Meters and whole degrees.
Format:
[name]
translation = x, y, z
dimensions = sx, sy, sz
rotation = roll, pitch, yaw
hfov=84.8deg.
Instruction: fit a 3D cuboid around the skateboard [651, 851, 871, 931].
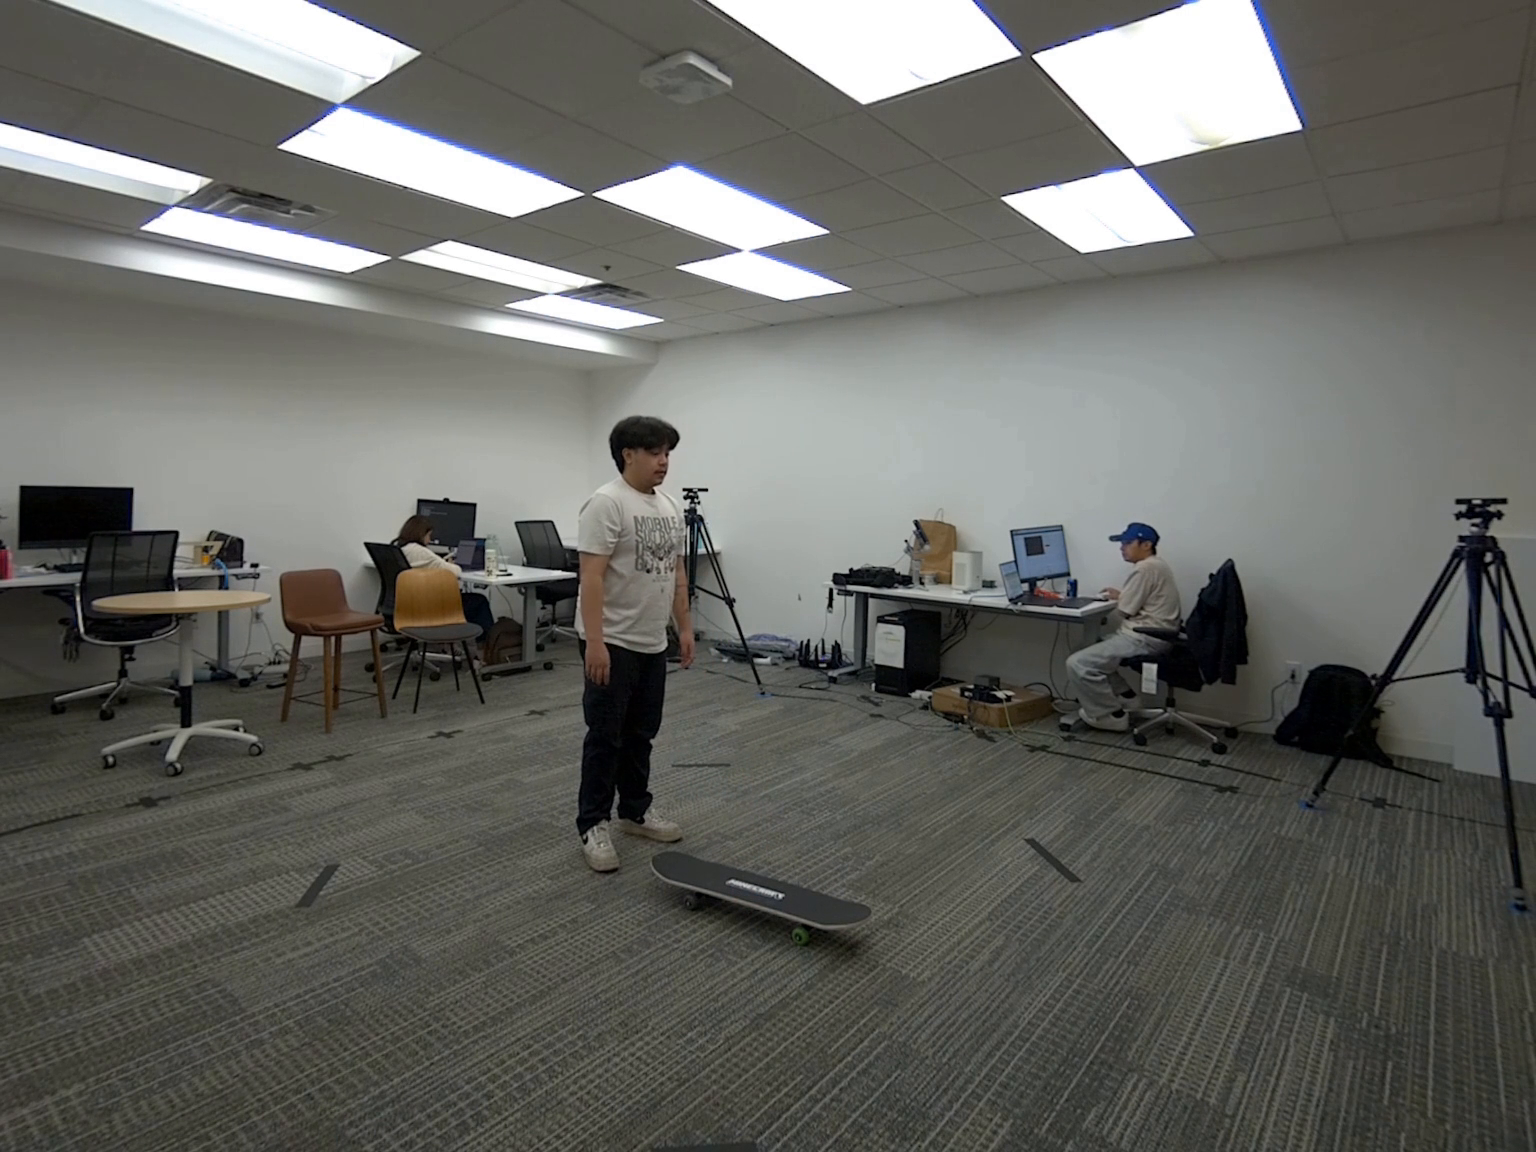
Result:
[skateboard]
translation = -0.052, 1.047, 2.769
dimensions = 0.808, 0.110, 0.188
rotation = 4, 5, 29
